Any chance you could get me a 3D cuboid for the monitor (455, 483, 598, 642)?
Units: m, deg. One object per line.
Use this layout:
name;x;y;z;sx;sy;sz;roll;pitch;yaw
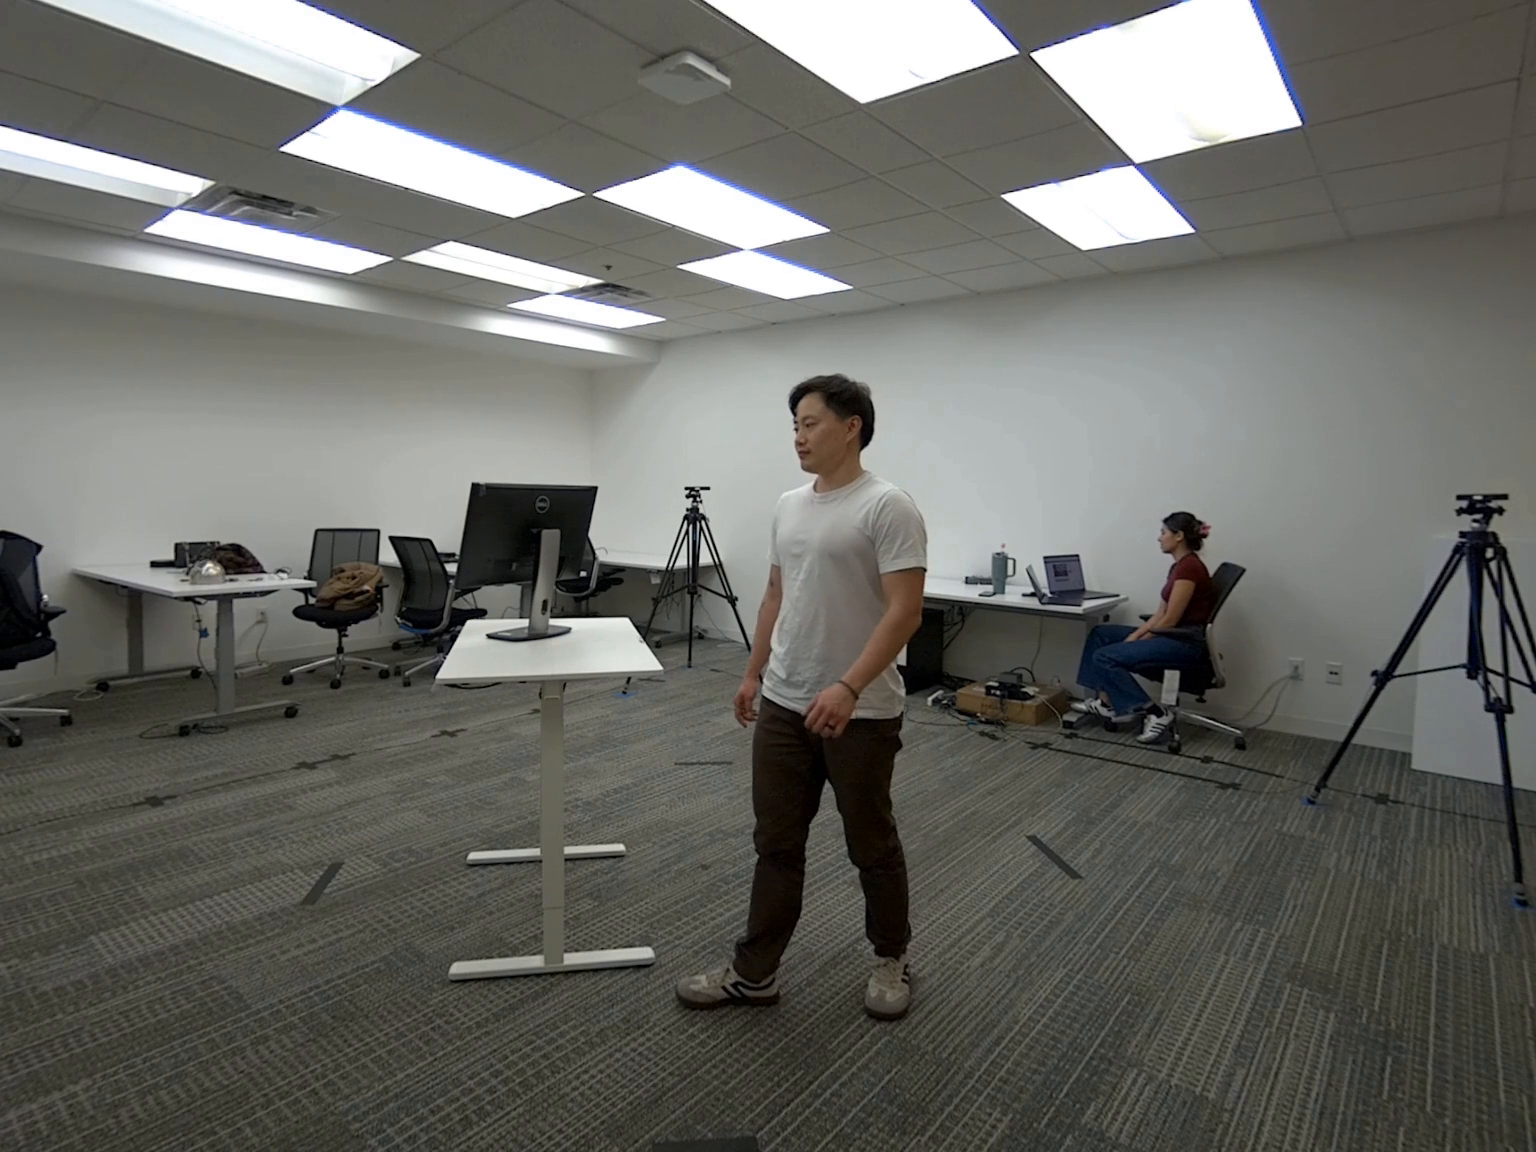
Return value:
monitor;-0.809;-0.051;2.876;0.193;0.520;0.524;5;6;33
